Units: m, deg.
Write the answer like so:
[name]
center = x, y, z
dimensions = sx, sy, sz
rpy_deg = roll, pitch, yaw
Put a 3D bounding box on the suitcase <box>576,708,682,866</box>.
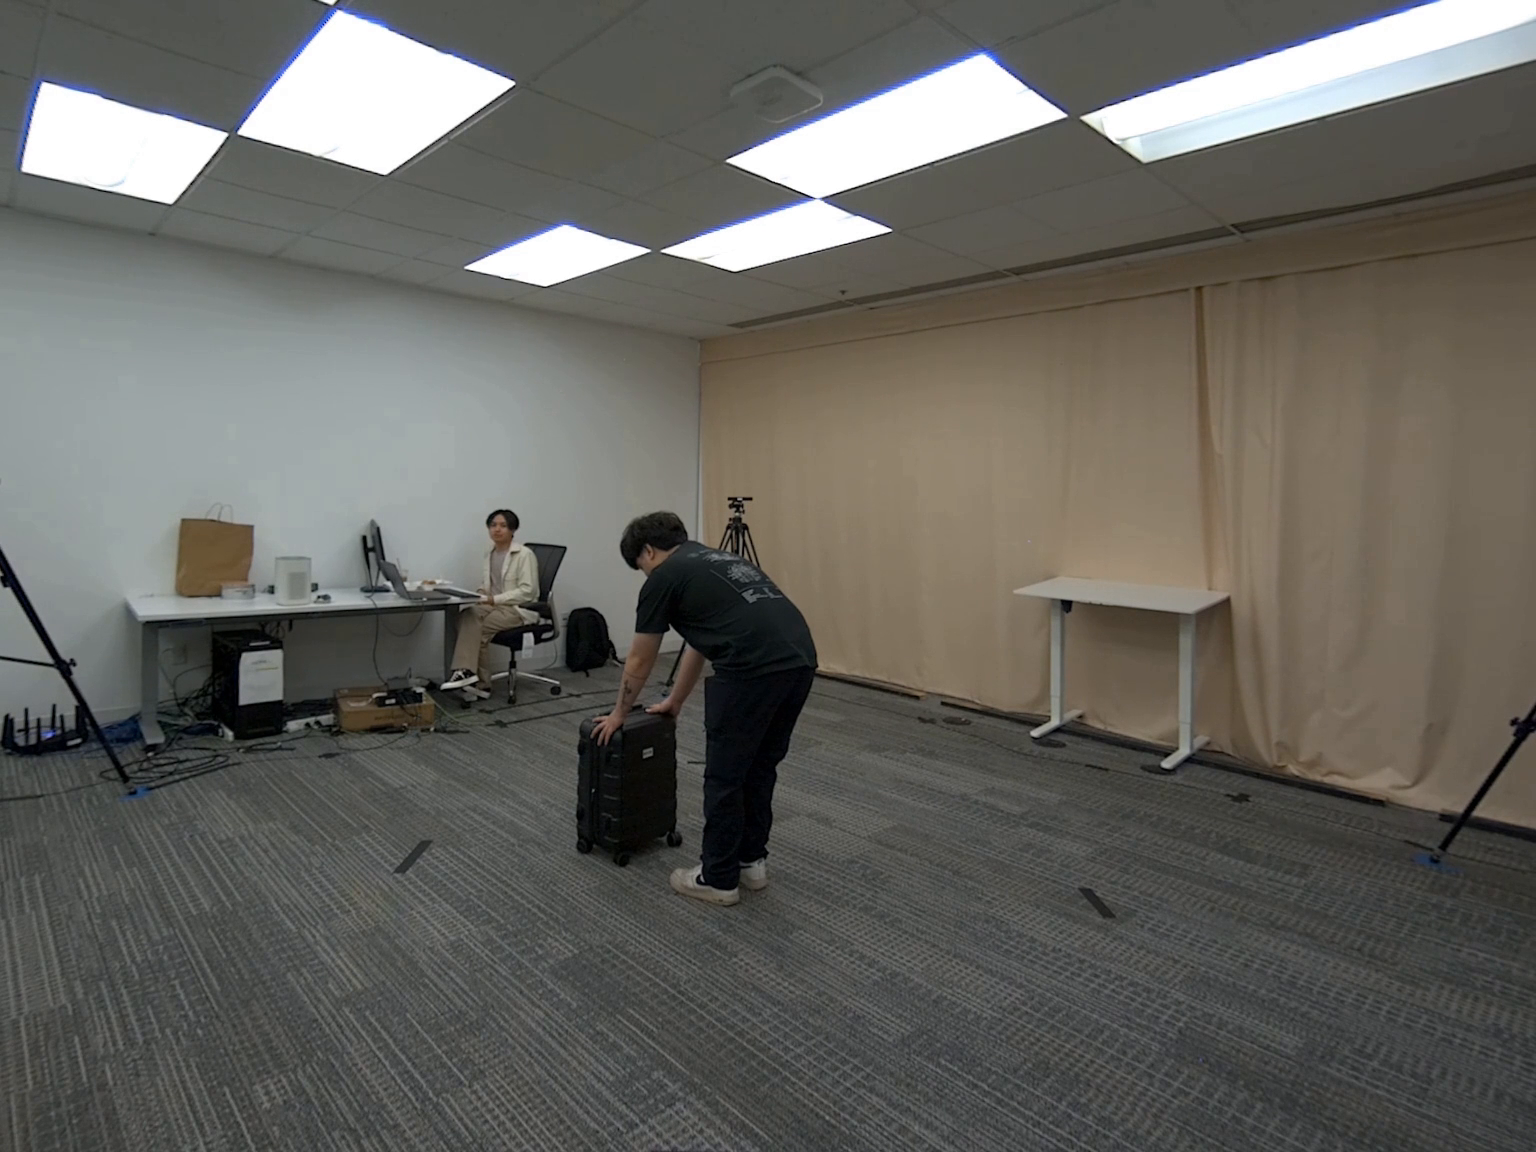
[suitcase]
center = -0.562, 0.806, 3.333
dimensions = 0.254, 0.548, 0.367
rpy_deg = 3, 3, 38
